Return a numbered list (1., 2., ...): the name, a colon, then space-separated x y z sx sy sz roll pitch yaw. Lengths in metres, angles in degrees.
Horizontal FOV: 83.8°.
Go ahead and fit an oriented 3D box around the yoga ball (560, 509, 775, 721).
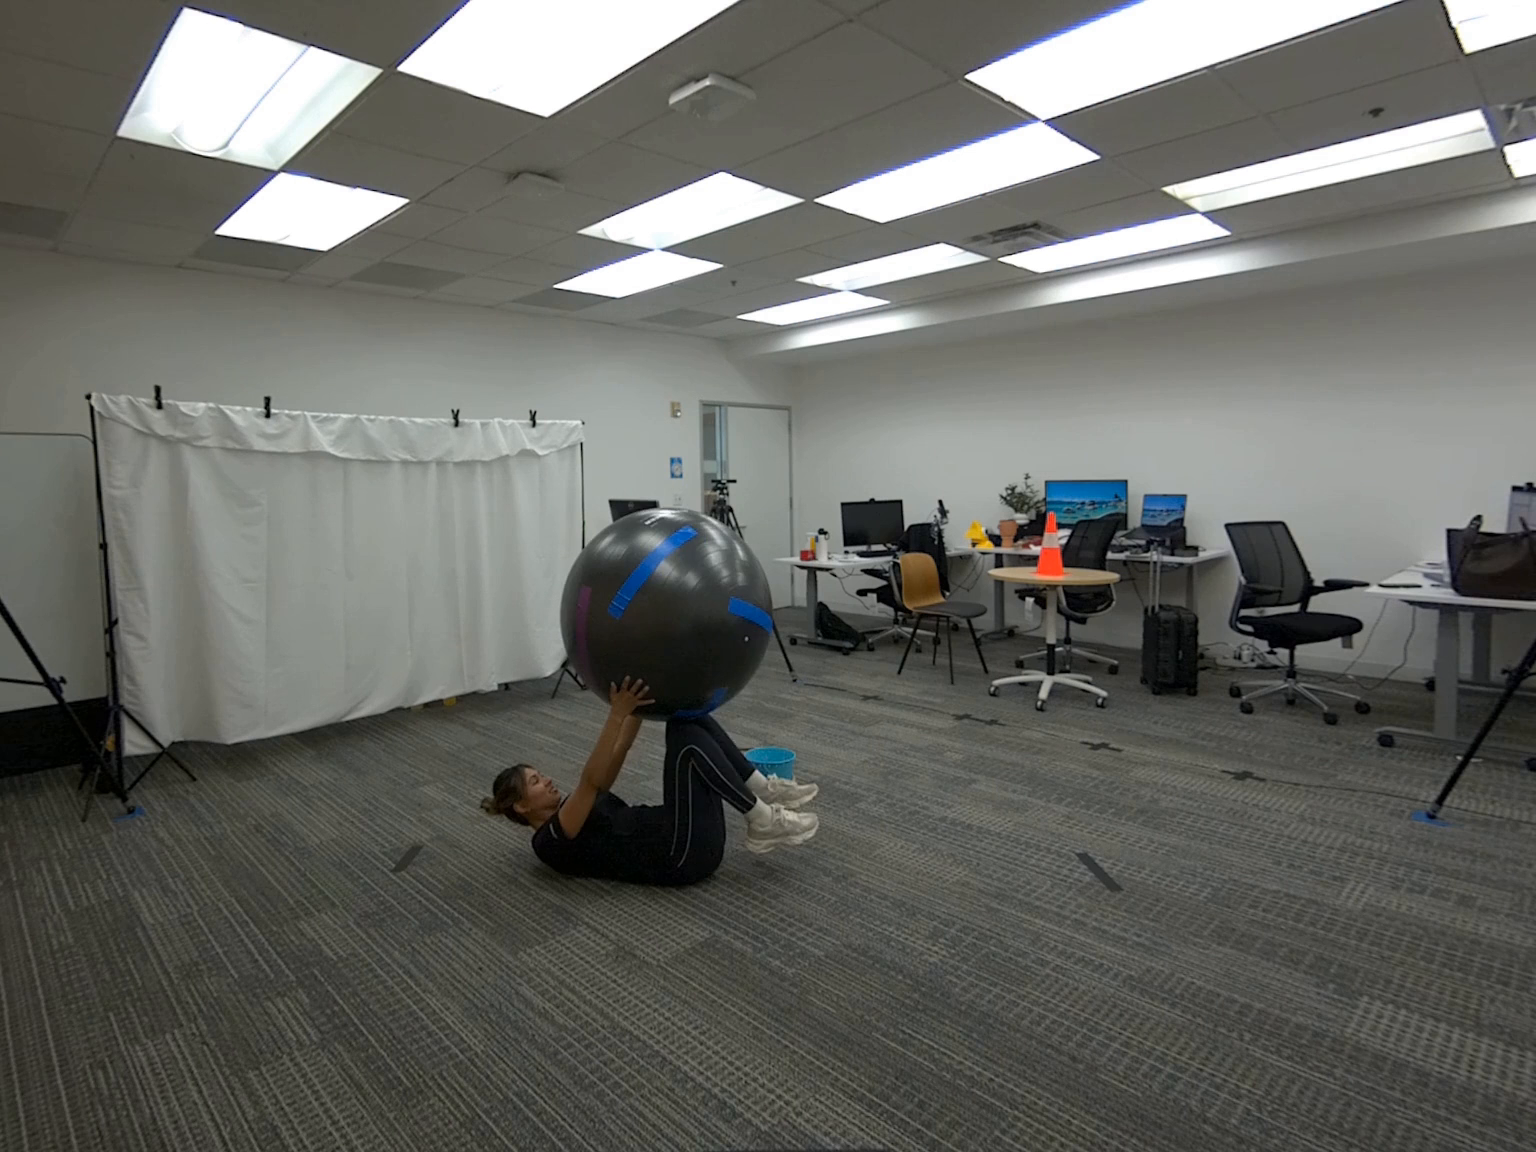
1. yoga ball: -0.375 0.140 3.060 0.757 0.755 0.762 -1 5 -2
